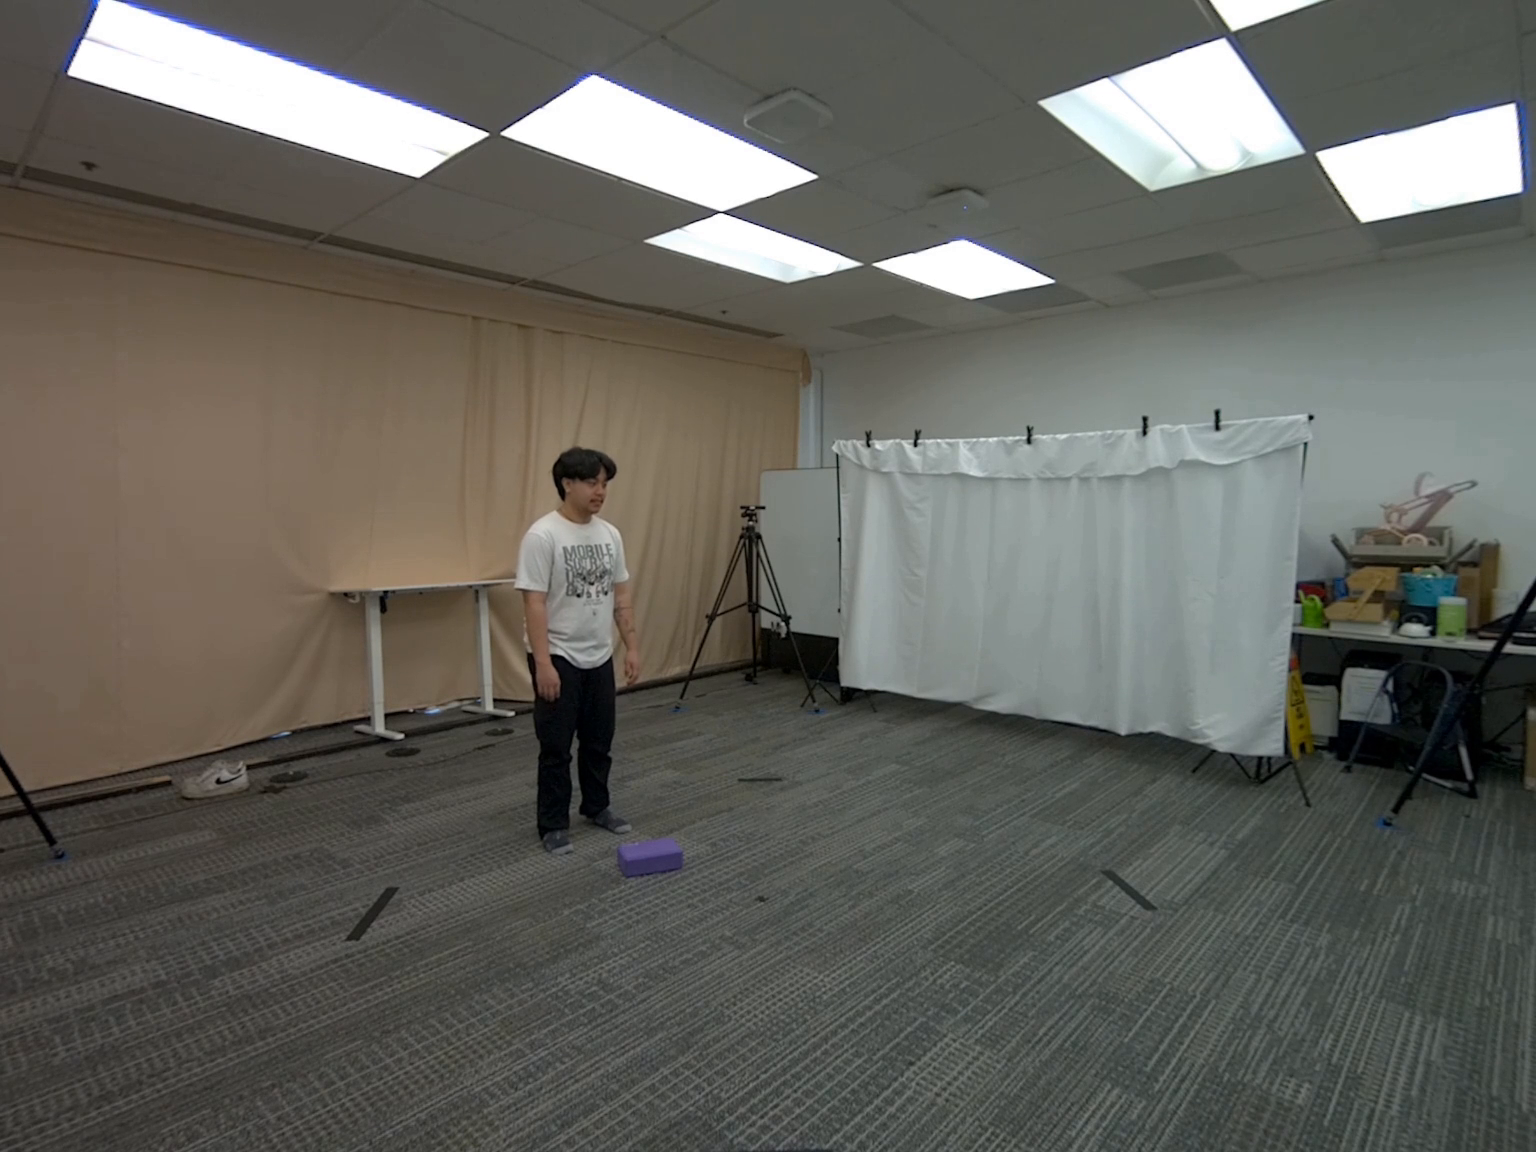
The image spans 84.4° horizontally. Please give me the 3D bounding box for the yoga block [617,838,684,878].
[{"bbox_3d":[-0.456,1.083,3.255,0.225,0.076,0.152,-3,6,-20],"label":"yoga block"}]
